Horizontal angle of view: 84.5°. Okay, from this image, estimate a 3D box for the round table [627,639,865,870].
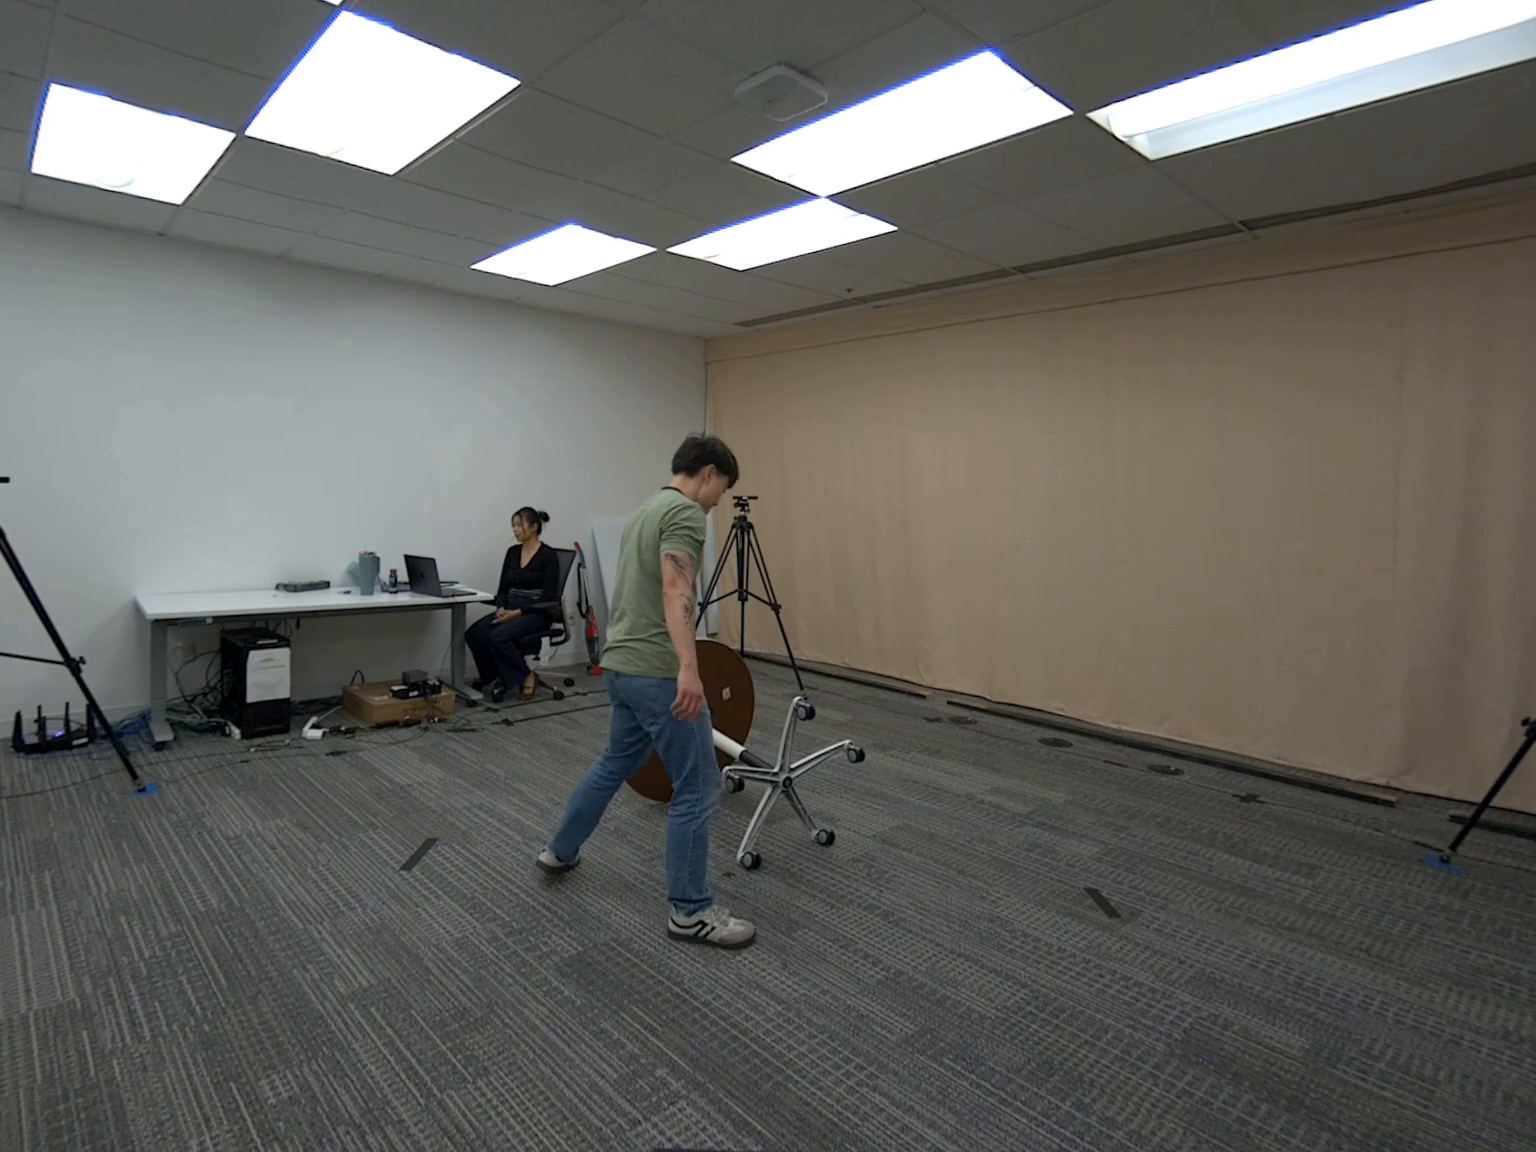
[{"bbox_3d":[-0.133,0.737,3.517,0.747,0.759,0.817,-2,13,-39],"label":"round table"}]
